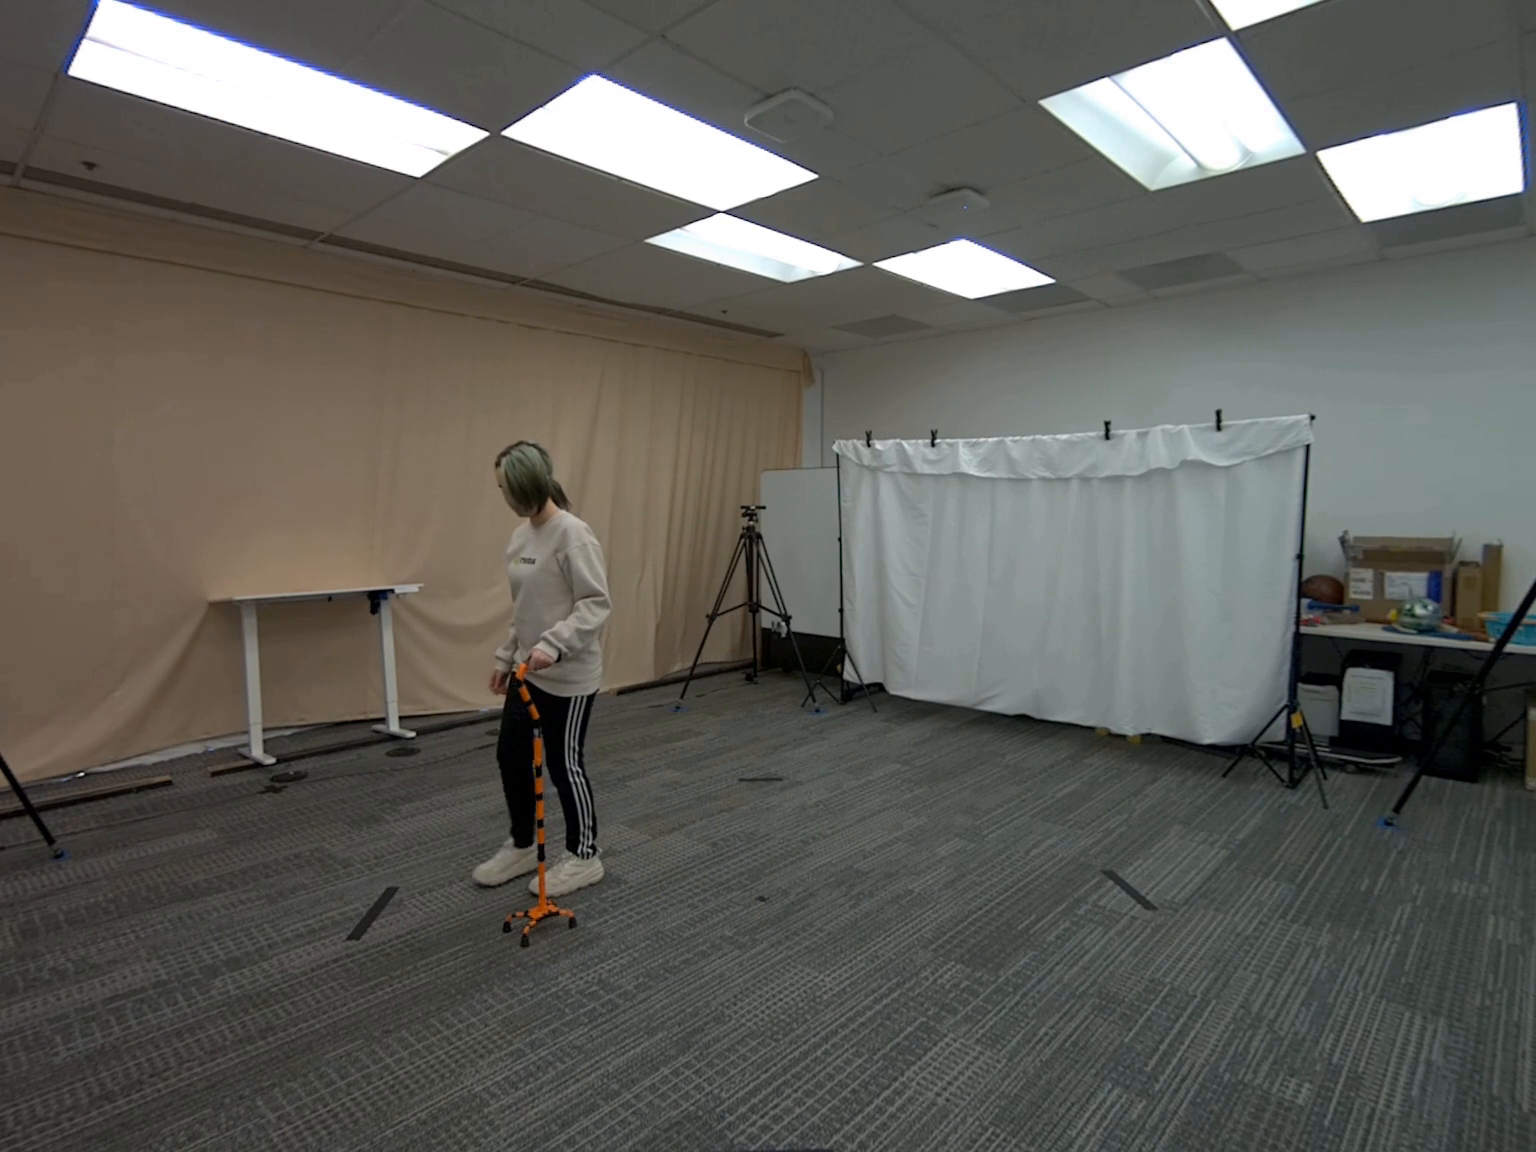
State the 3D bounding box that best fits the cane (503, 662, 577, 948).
[{"bbox_3d":[-0.753,0.706,2.755,0.200,0.906,0.156,-3,5,-40],"label":"cane"}]
